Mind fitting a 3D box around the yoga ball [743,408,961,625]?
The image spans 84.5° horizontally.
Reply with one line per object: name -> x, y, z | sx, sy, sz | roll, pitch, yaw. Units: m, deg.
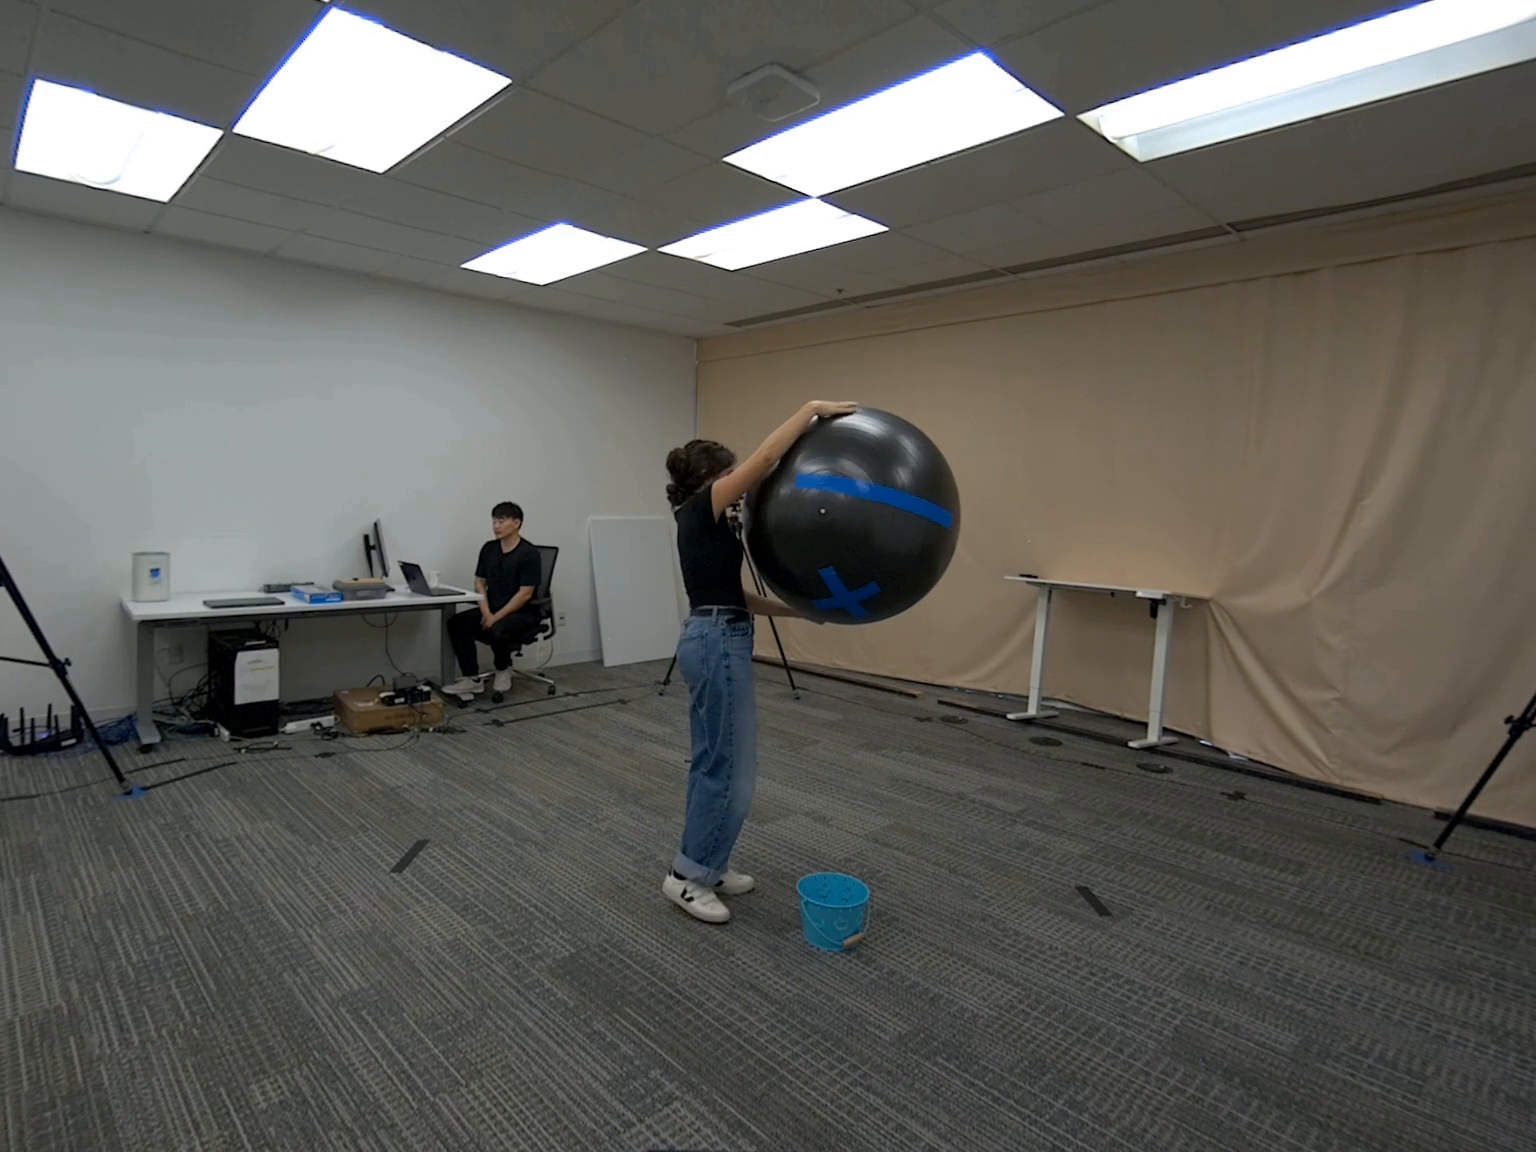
yoga ball -> 0.288, -0.202, 2.953 | 0.757, 0.756, 0.761 | 1, 4, -1
